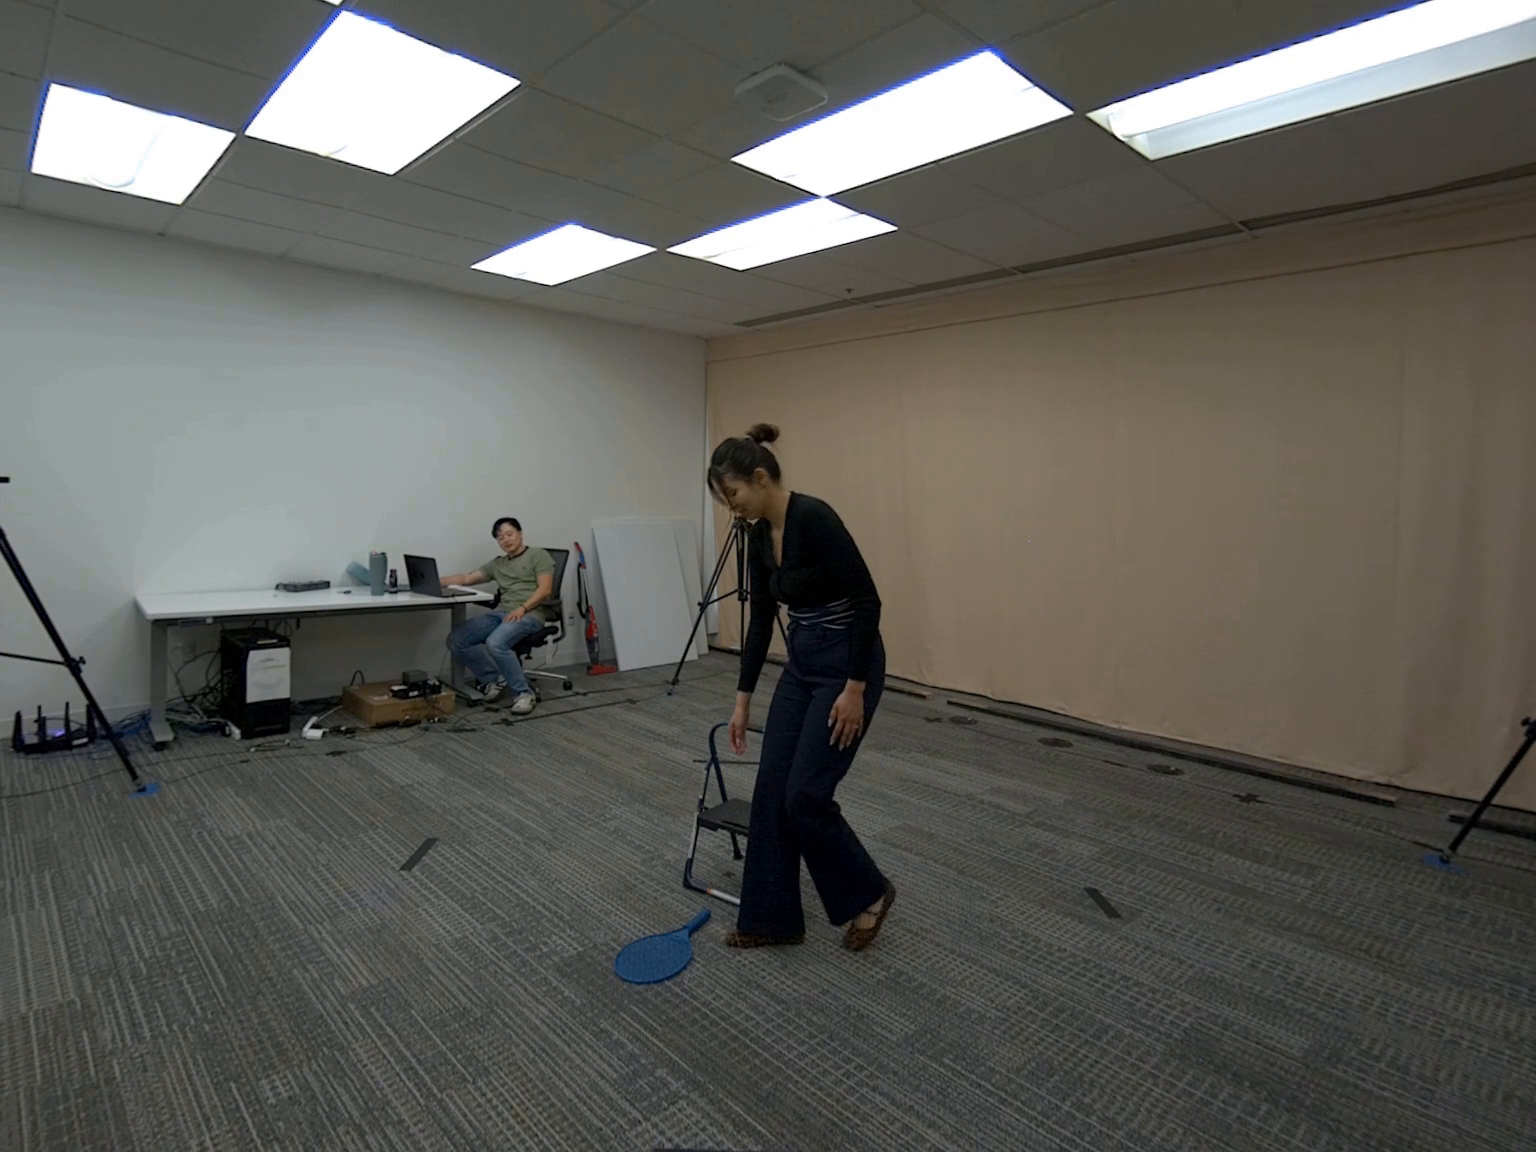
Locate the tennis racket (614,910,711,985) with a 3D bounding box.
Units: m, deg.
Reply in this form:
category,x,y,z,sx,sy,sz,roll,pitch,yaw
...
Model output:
category,x,y,z,sx,sy,sz,roll,pitch,yaw
tennis racket,-0.306,1.132,2.588,0.218,0.031,0.425,4,7,28
